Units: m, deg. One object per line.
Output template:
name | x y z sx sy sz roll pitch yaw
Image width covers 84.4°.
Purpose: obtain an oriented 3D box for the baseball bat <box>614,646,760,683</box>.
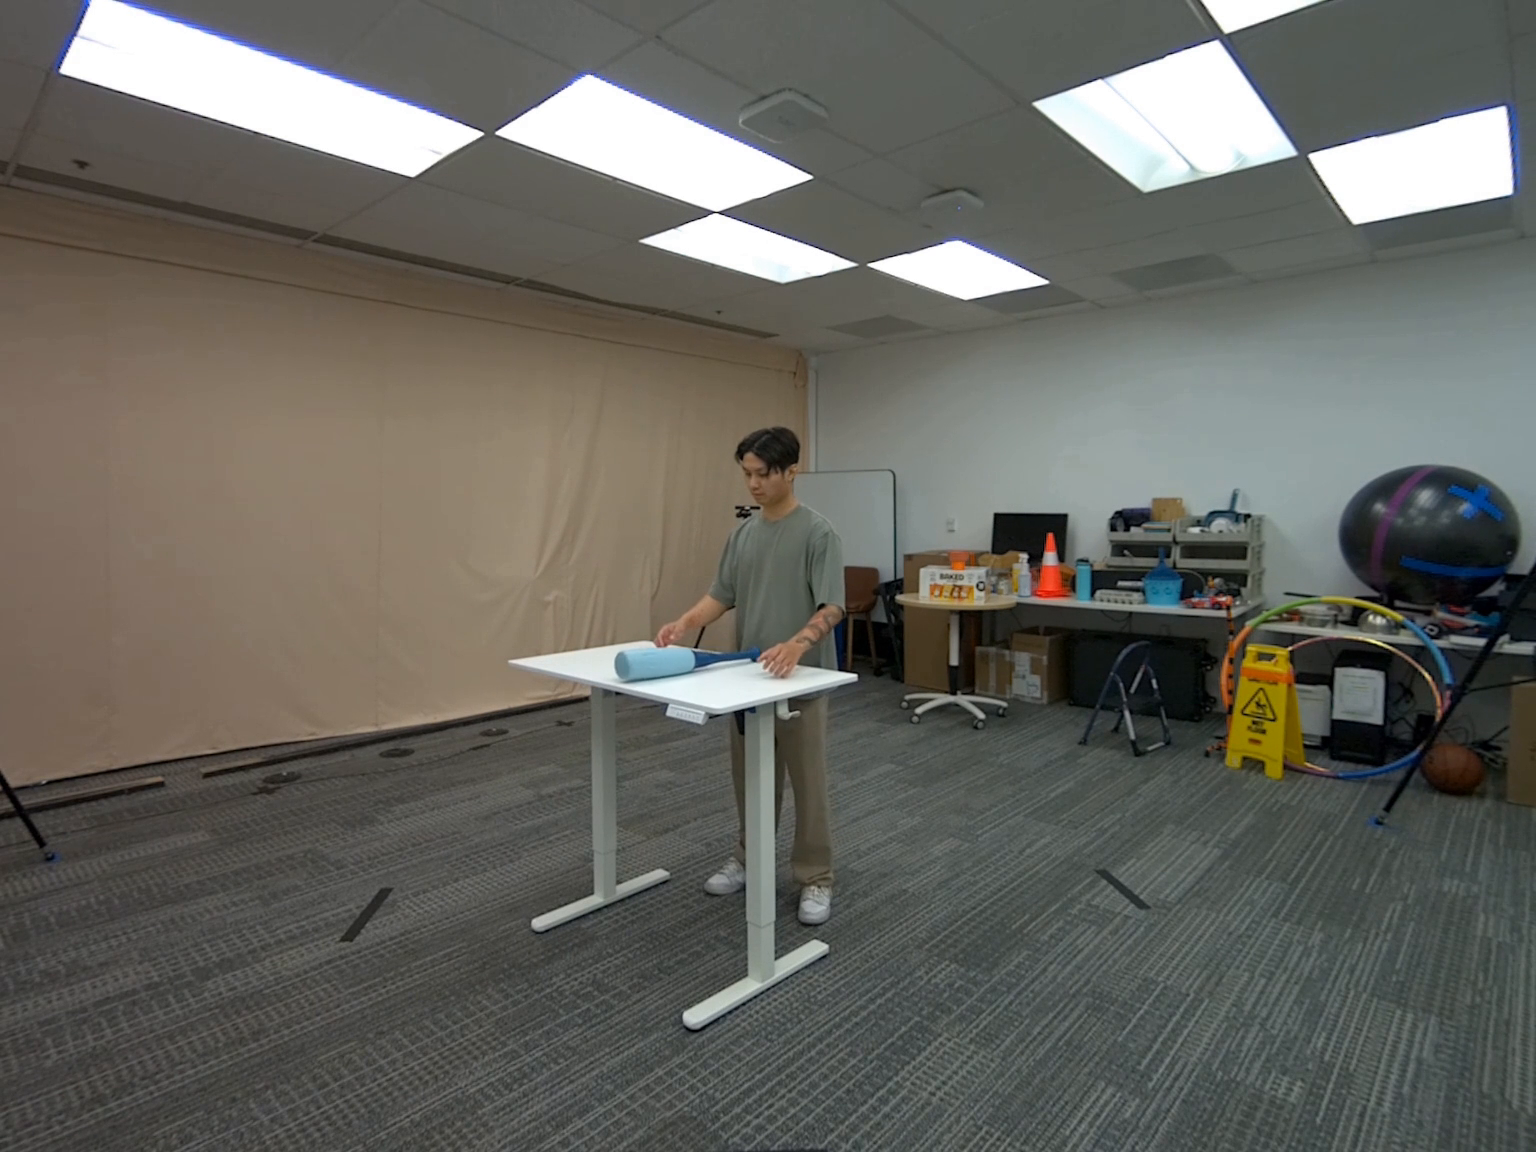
baseball bat | -0.223 0.259 2.599 0.525 0.089 0.092 1 2 -42
